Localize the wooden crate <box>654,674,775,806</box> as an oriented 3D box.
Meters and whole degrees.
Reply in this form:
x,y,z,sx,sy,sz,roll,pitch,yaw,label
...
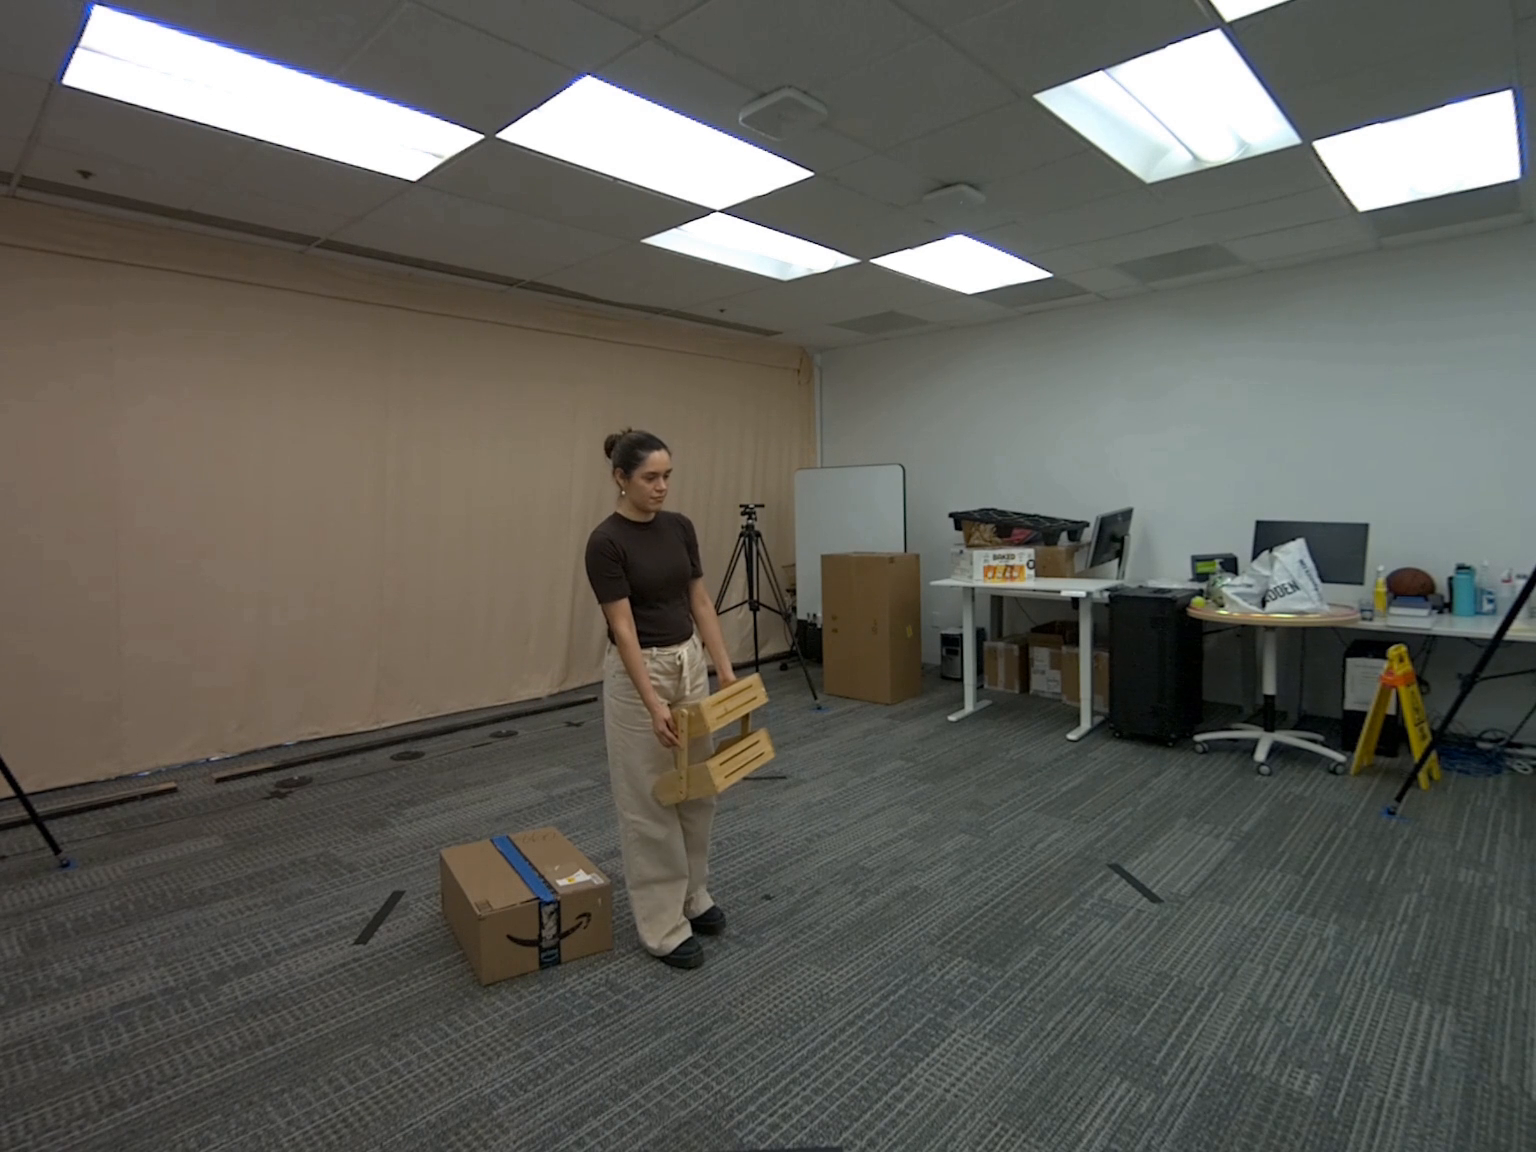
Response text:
x,y,z,sx,sy,sz,roll,pitch,yaw,label
-0.174,0.491,2.553,0.308,0.274,0.316,-22,-3,36,wooden crate
